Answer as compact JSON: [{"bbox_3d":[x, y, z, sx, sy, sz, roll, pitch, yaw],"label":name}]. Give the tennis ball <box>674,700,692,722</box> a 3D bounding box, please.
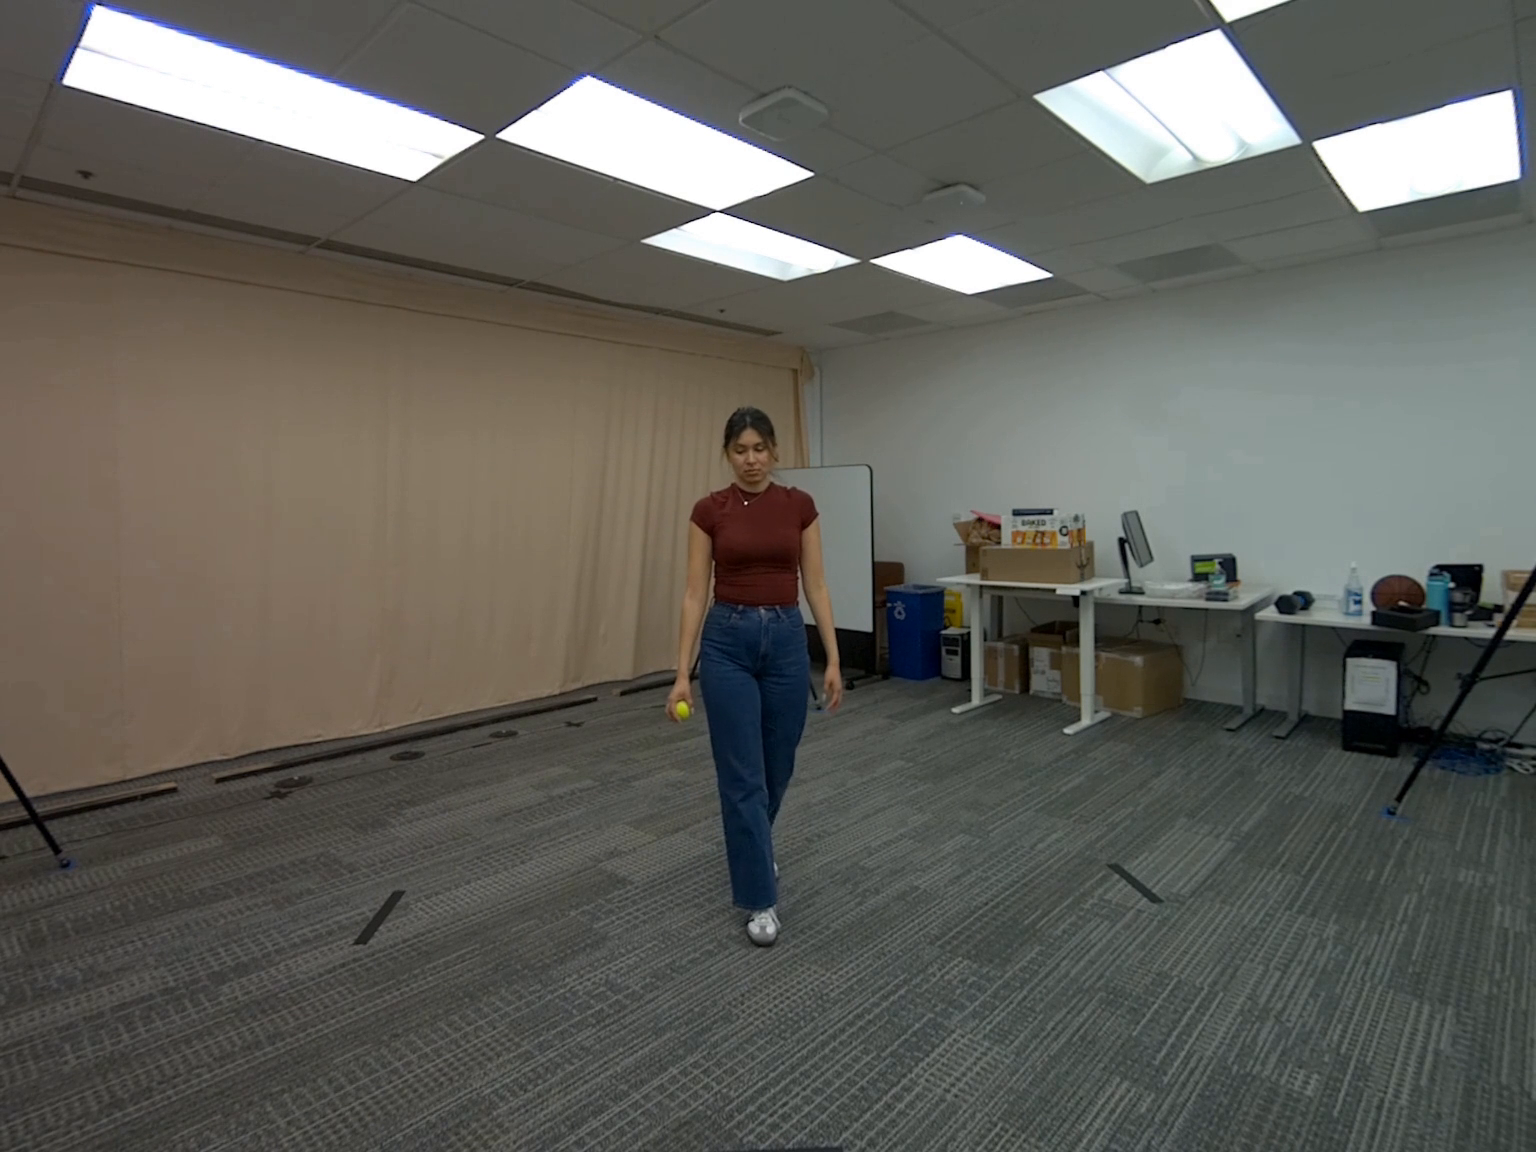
[{"bbox_3d":[-0.282,0.434,2.748,0.066,0.066,0.067,-1,4,-2],"label":"tennis ball"}]
